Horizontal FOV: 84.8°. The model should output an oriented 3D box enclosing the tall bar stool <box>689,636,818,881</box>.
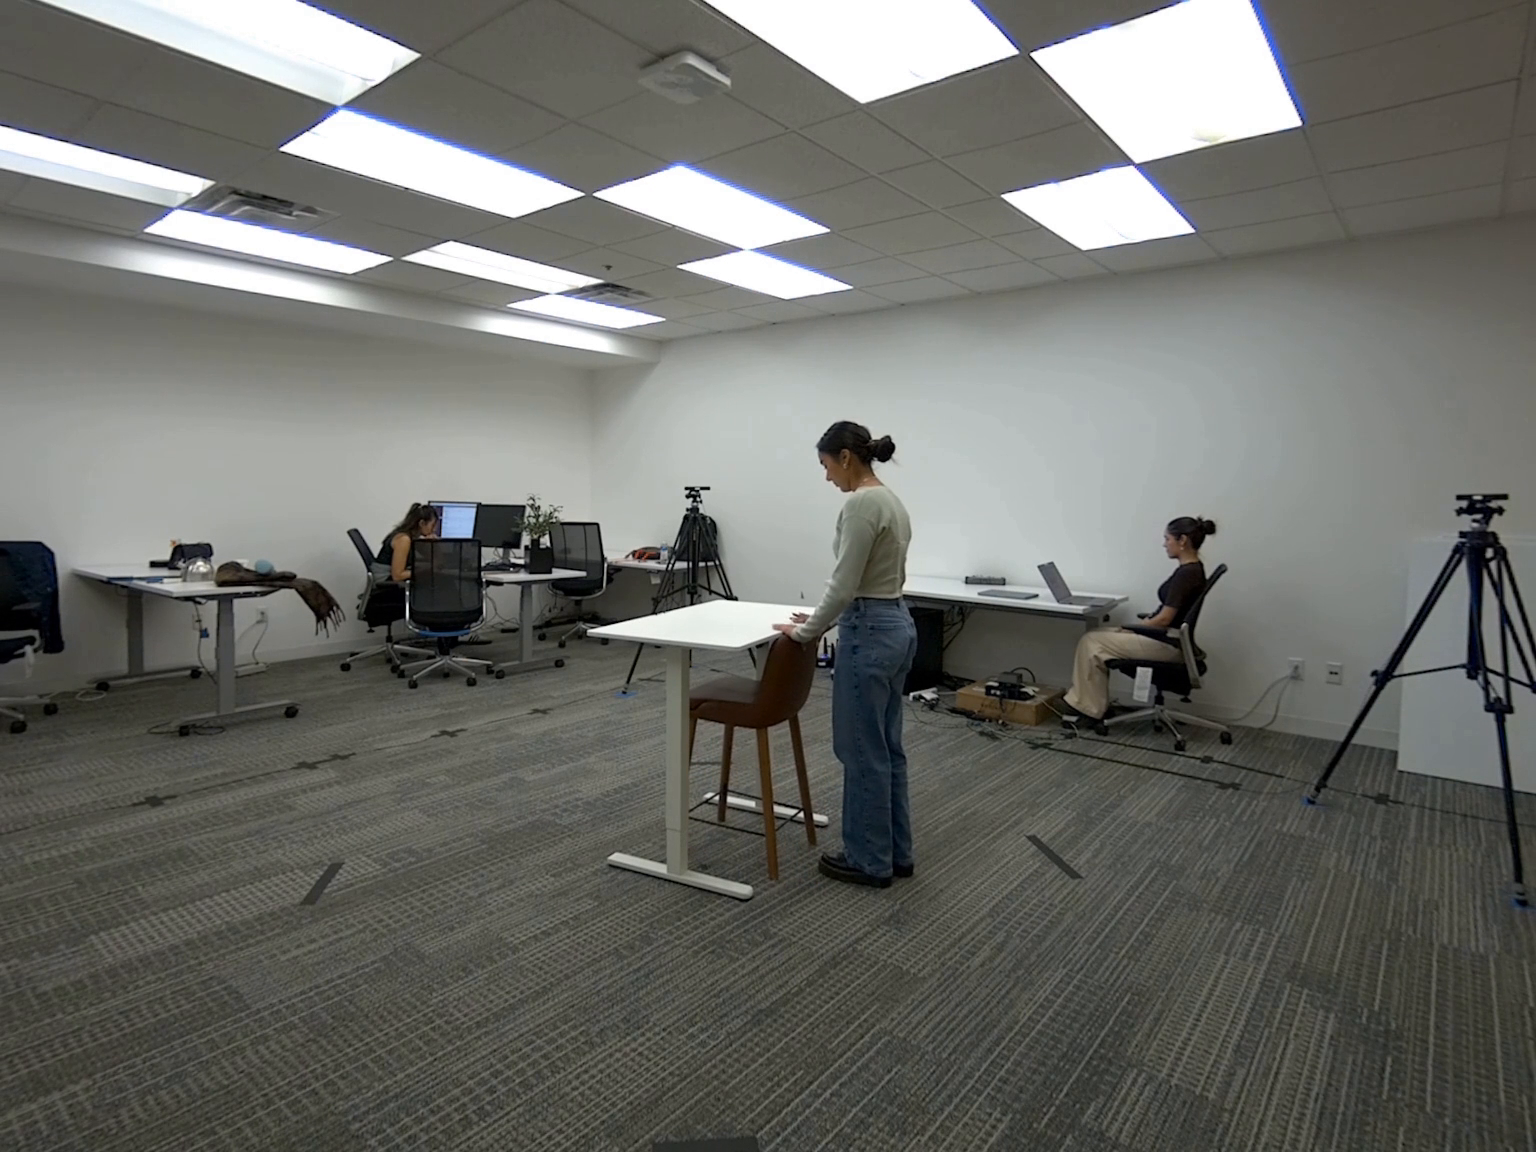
[{"bbox_3d":[-0.083,0.619,3.268,0.481,0.887,0.445,5,4,28],"label":"tall bar stool"}]
